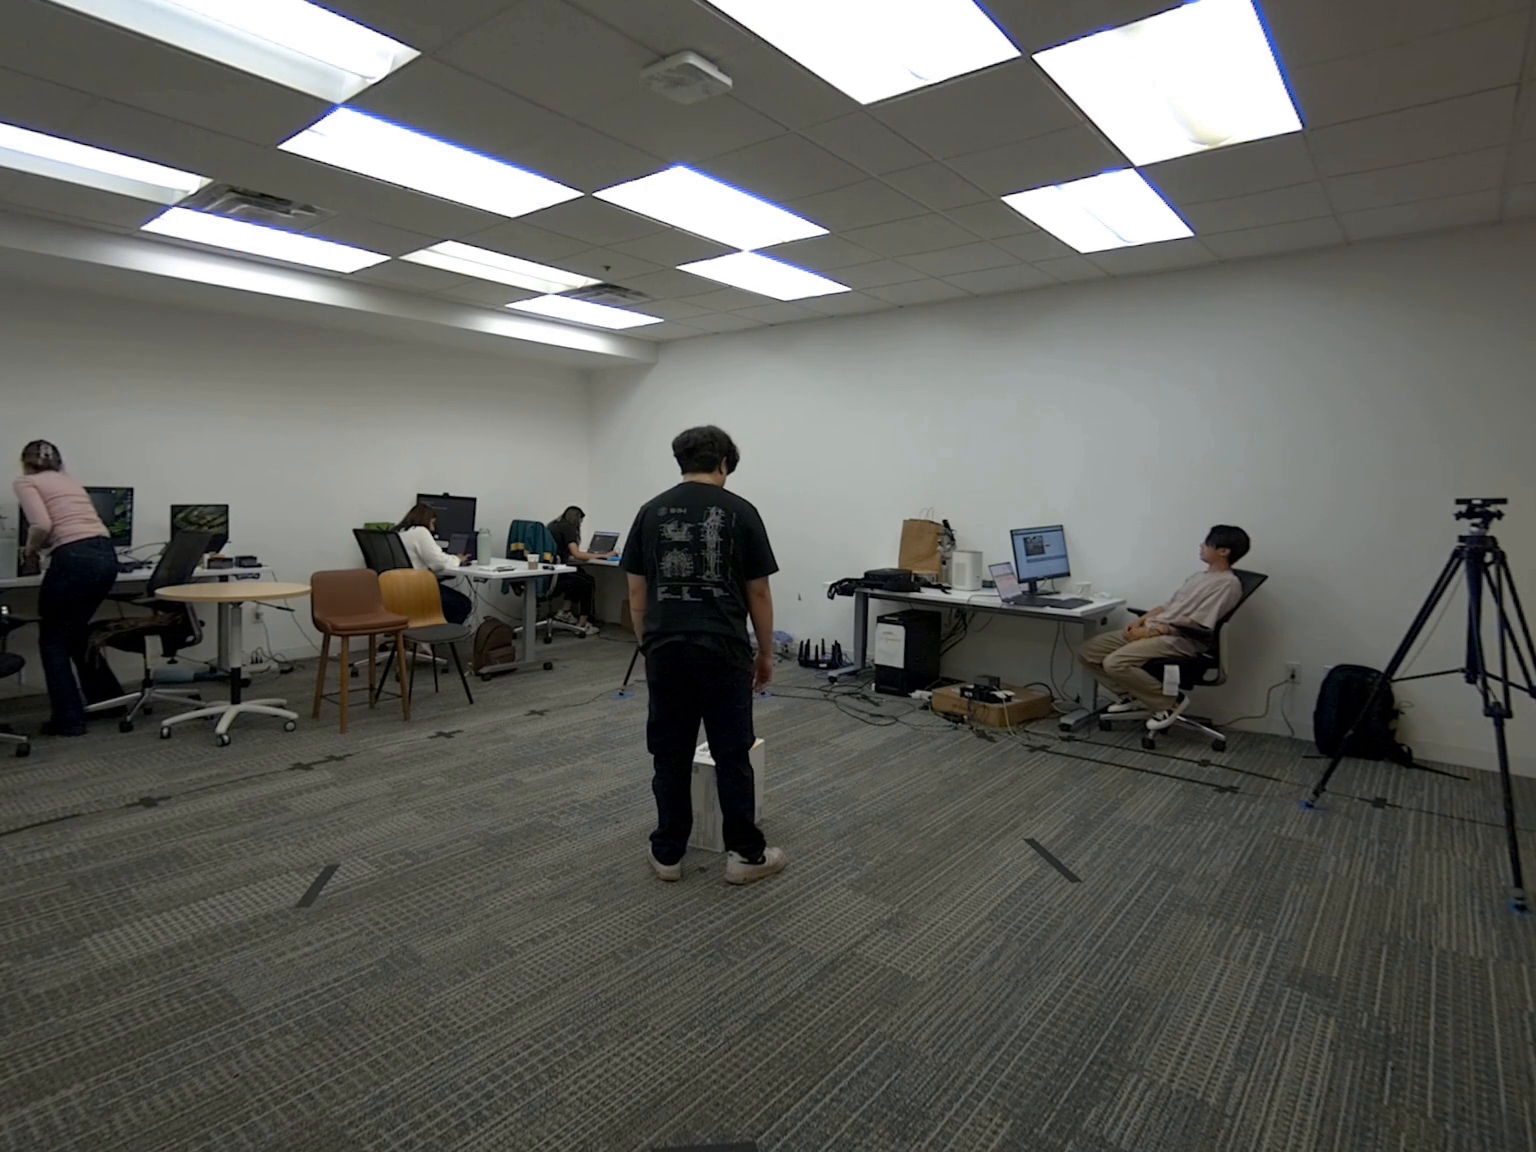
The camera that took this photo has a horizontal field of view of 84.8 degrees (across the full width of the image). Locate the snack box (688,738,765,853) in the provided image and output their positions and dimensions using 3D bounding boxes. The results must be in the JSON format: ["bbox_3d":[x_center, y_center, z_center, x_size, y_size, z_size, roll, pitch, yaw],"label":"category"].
[{"bbox_3d":[-0.194,0.864,3.461,0.211,0.339,0.397,3,5,23],"label":"snack box"}]
